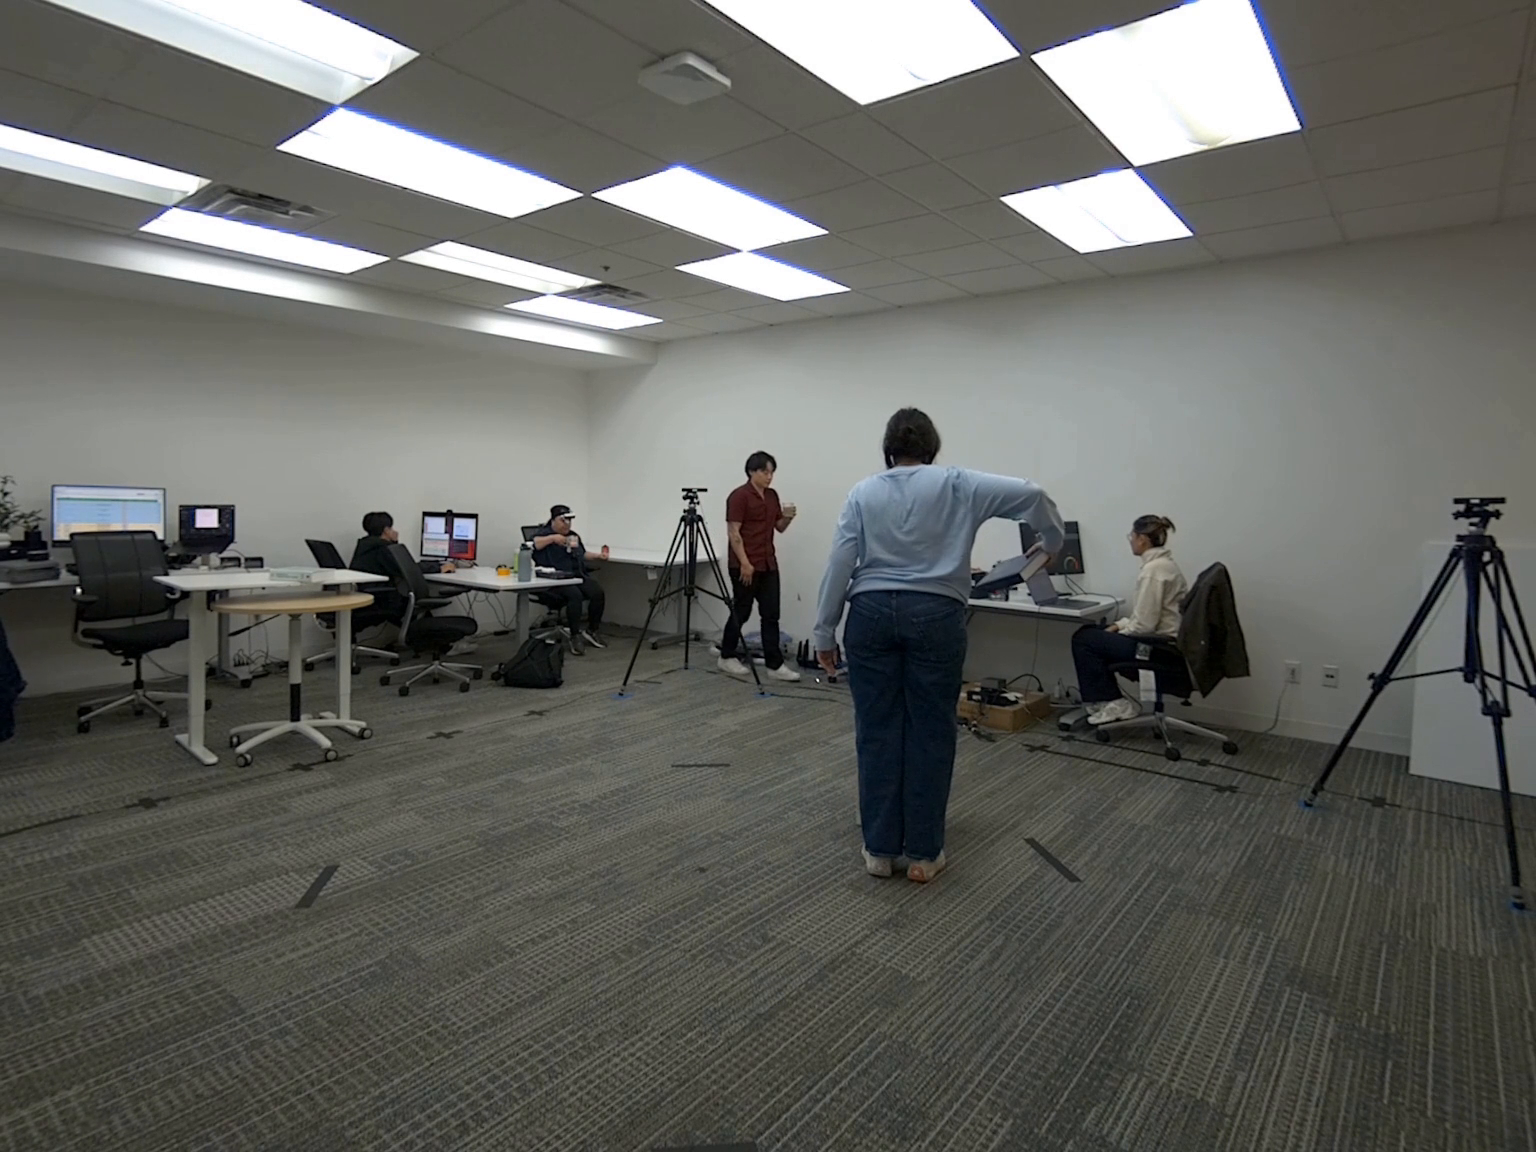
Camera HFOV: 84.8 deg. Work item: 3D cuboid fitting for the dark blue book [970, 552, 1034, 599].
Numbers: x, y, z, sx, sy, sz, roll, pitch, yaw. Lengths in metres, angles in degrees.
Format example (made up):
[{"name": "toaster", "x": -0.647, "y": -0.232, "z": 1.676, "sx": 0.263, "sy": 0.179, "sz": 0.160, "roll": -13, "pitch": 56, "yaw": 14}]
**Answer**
[{"name": "dark blue book", "x": 0.867, "y": -0.012, "z": 3.053, "sx": 0.162, "sy": 0.045, "sz": 0.248, "roll": -38, "pitch": 6, "yaw": -27}]
